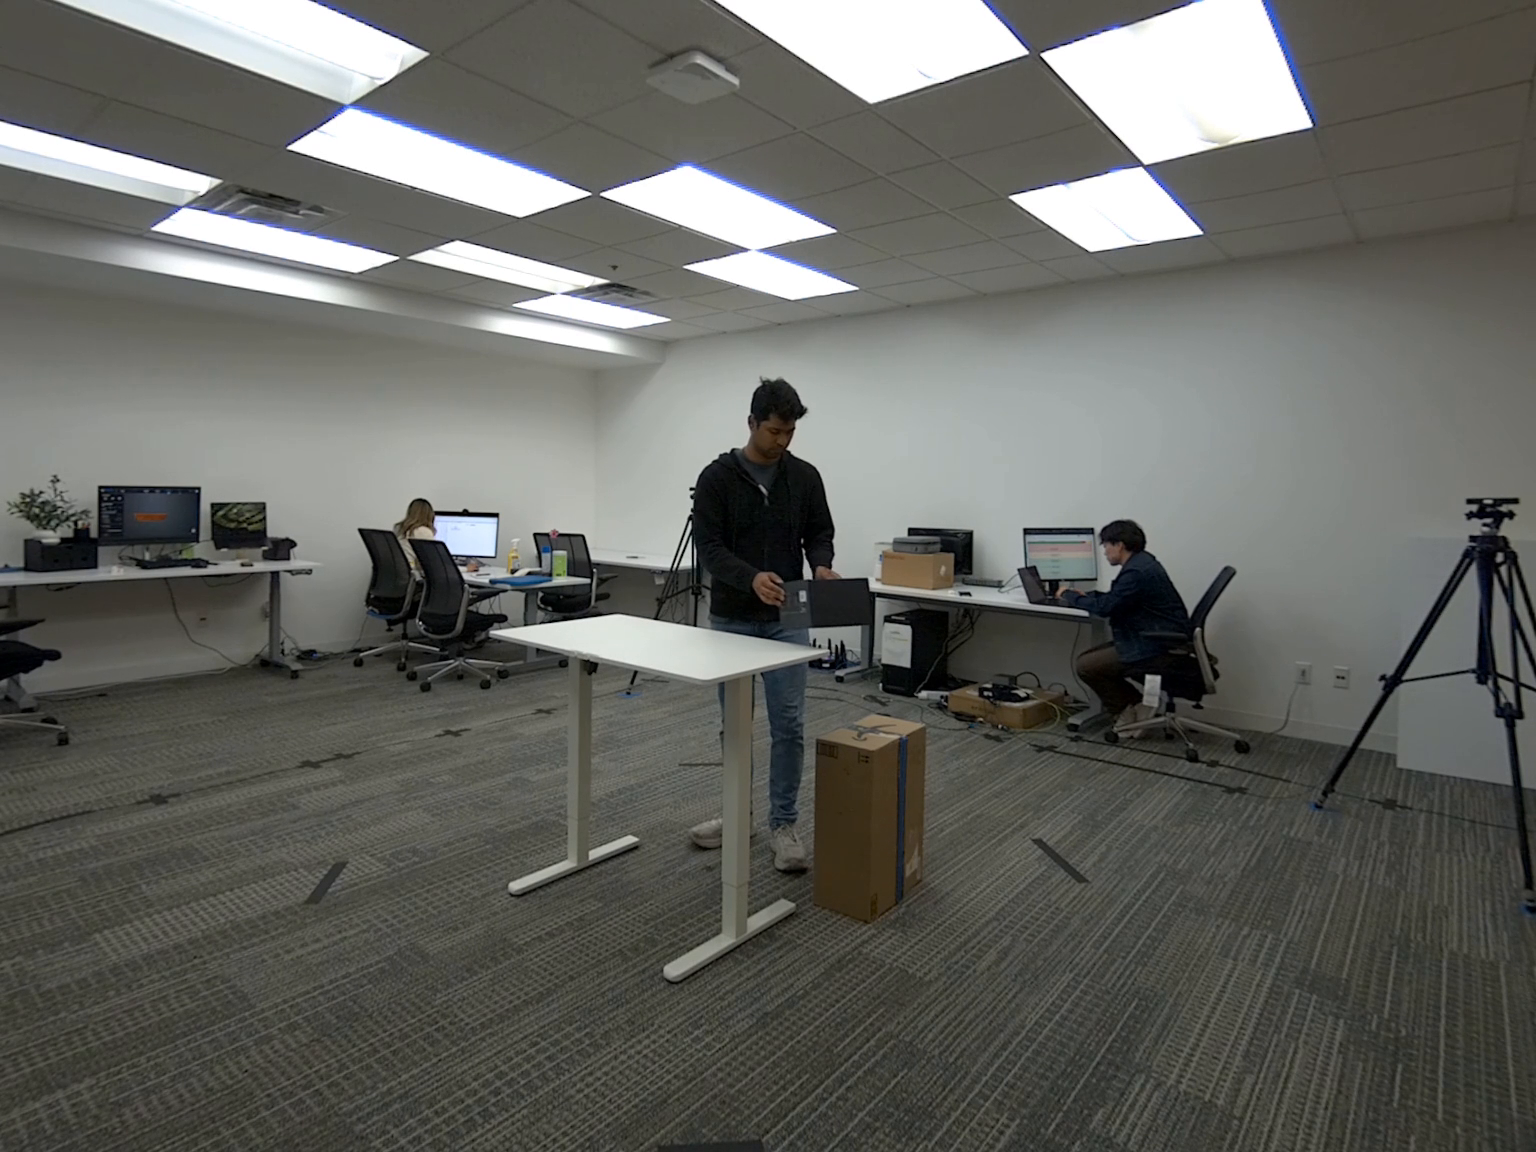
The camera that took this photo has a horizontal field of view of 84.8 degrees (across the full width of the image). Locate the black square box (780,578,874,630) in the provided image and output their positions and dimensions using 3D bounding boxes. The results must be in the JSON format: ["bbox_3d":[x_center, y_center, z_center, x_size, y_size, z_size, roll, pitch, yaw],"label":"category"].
[{"bbox_3d":[0.170,0.093,2.827,0.223,0.157,0.221,-2,-4,-24],"label":"black square box"}]
